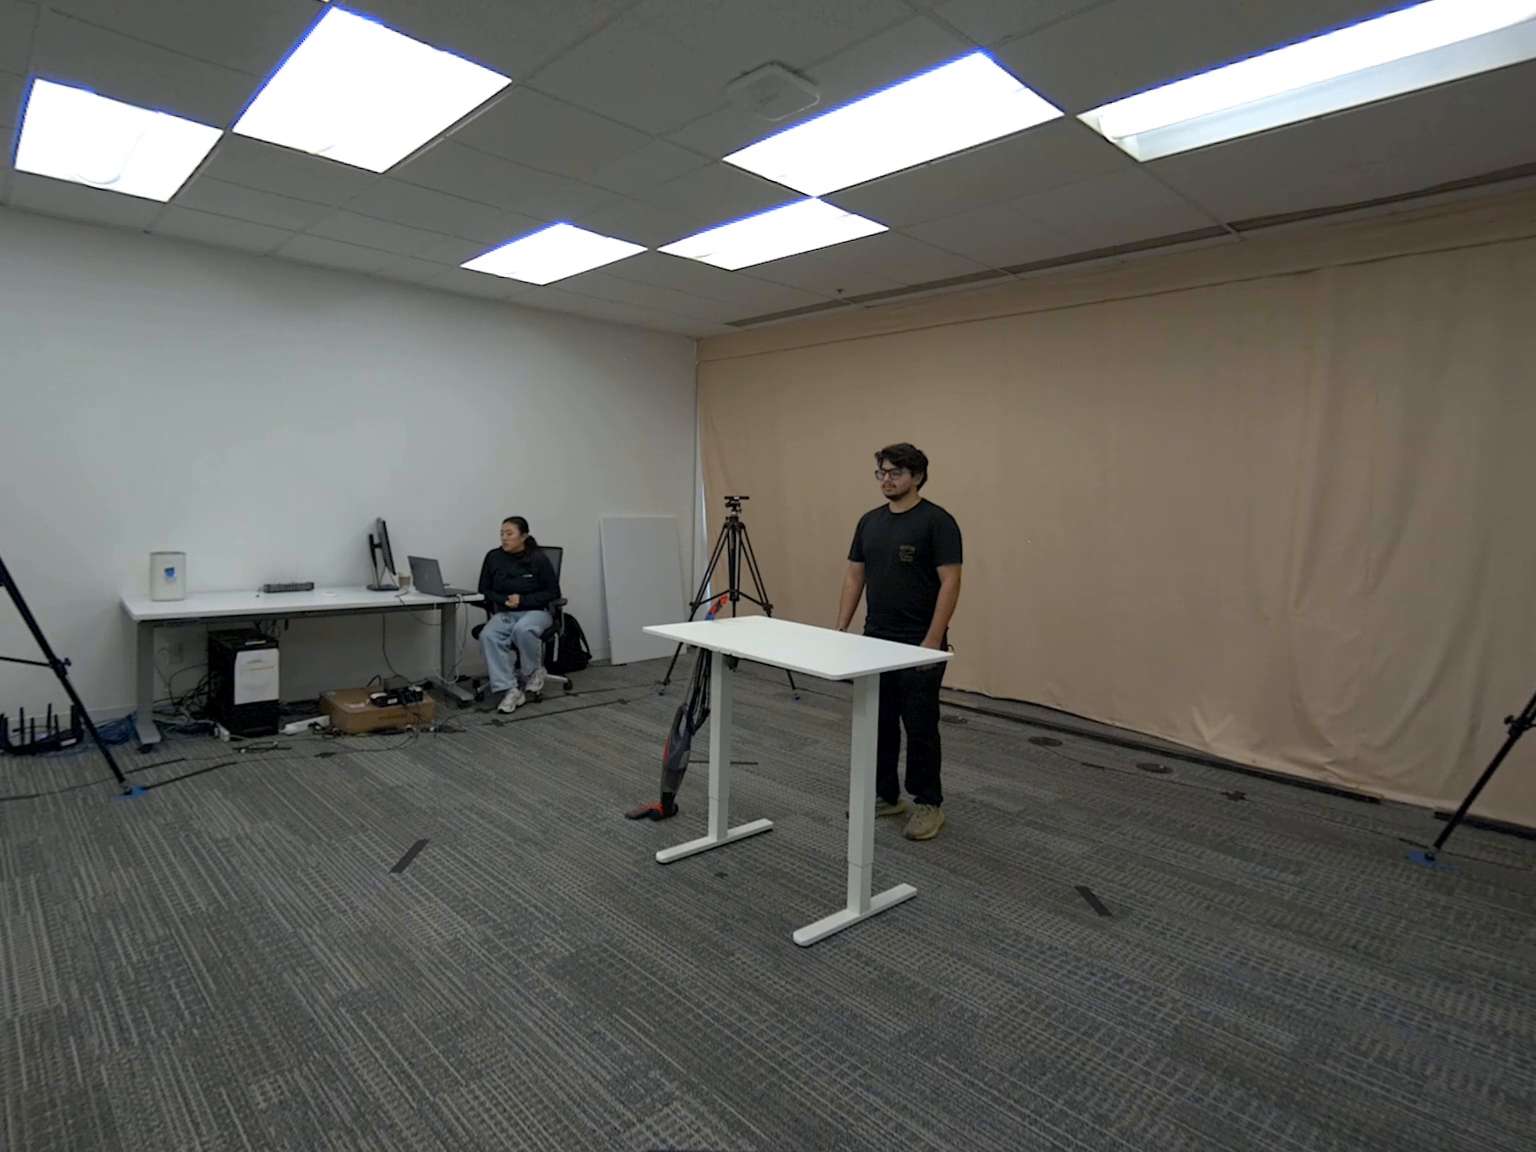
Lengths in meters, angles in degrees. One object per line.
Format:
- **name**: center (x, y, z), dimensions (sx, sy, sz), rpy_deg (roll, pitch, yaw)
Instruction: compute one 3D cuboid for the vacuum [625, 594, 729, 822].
- **vacuum**: center (-0.343, 0.562, 3.552), dimensions (0.148, 1.042, 0.247), rpy_deg (27, 18, 32)
